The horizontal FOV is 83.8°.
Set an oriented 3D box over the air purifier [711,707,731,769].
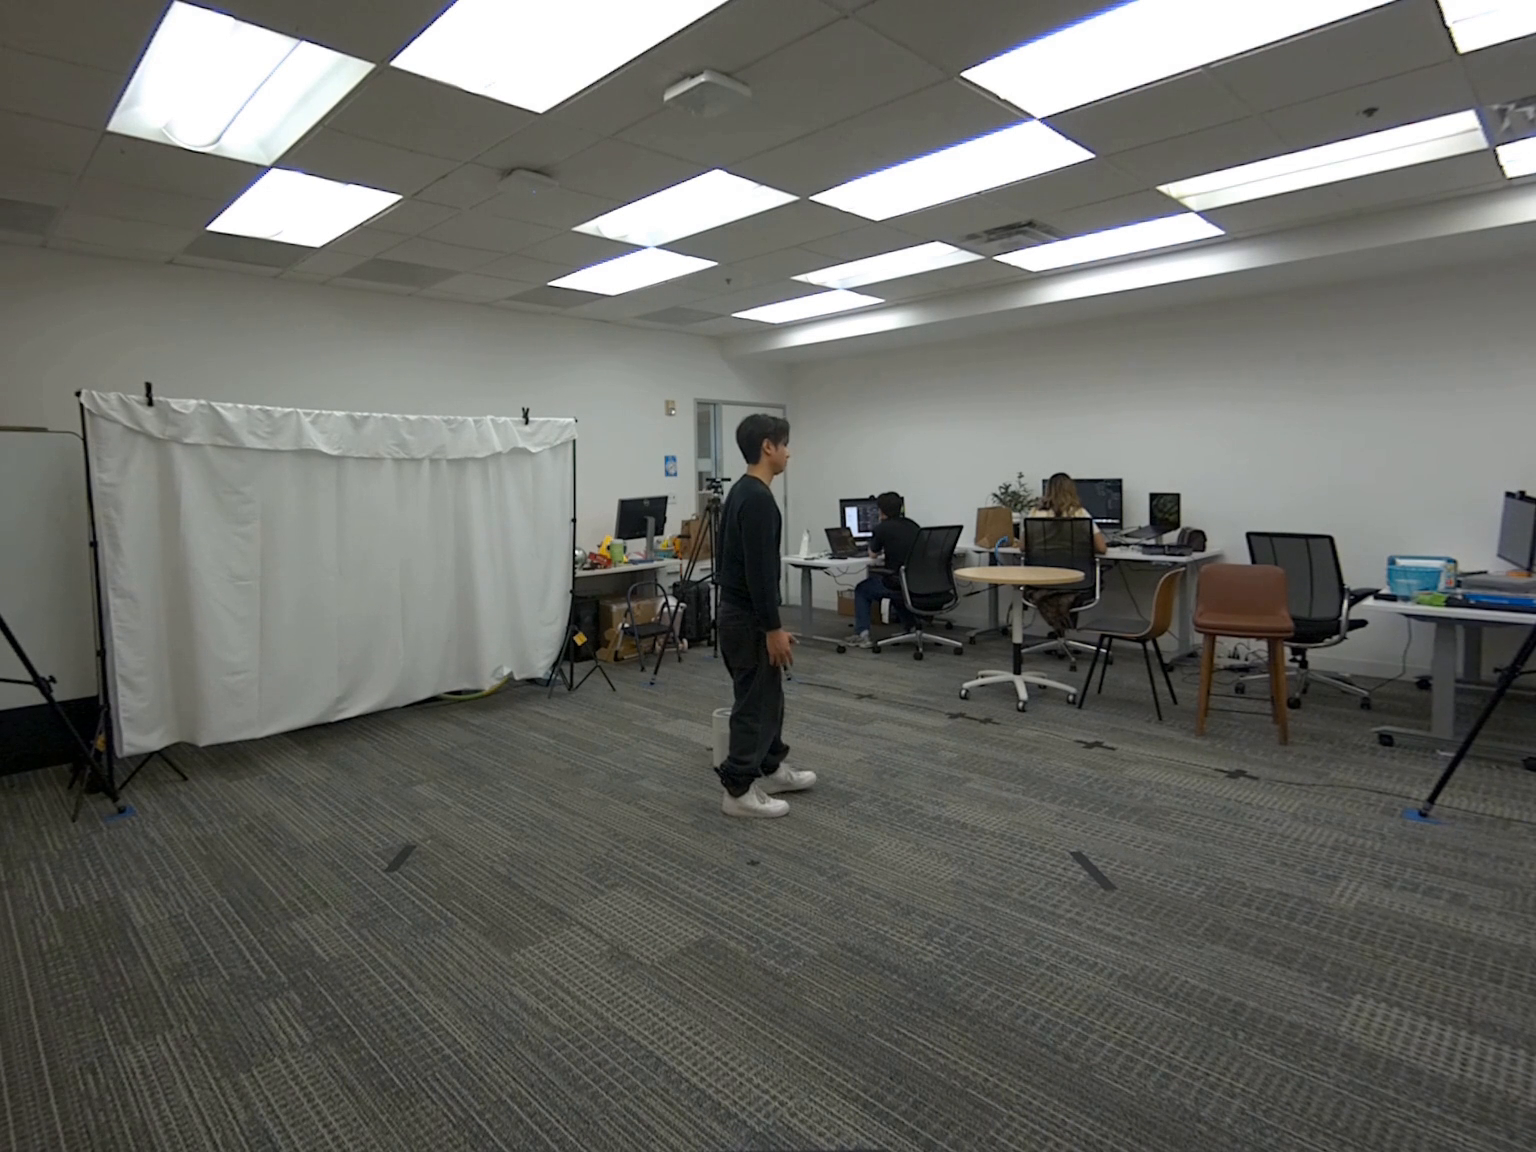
[{"bbox_3d":[-0.178,0.801,4.170,0.172,0.264,0.171,-1,3,4],"label":"air purifier"}]
